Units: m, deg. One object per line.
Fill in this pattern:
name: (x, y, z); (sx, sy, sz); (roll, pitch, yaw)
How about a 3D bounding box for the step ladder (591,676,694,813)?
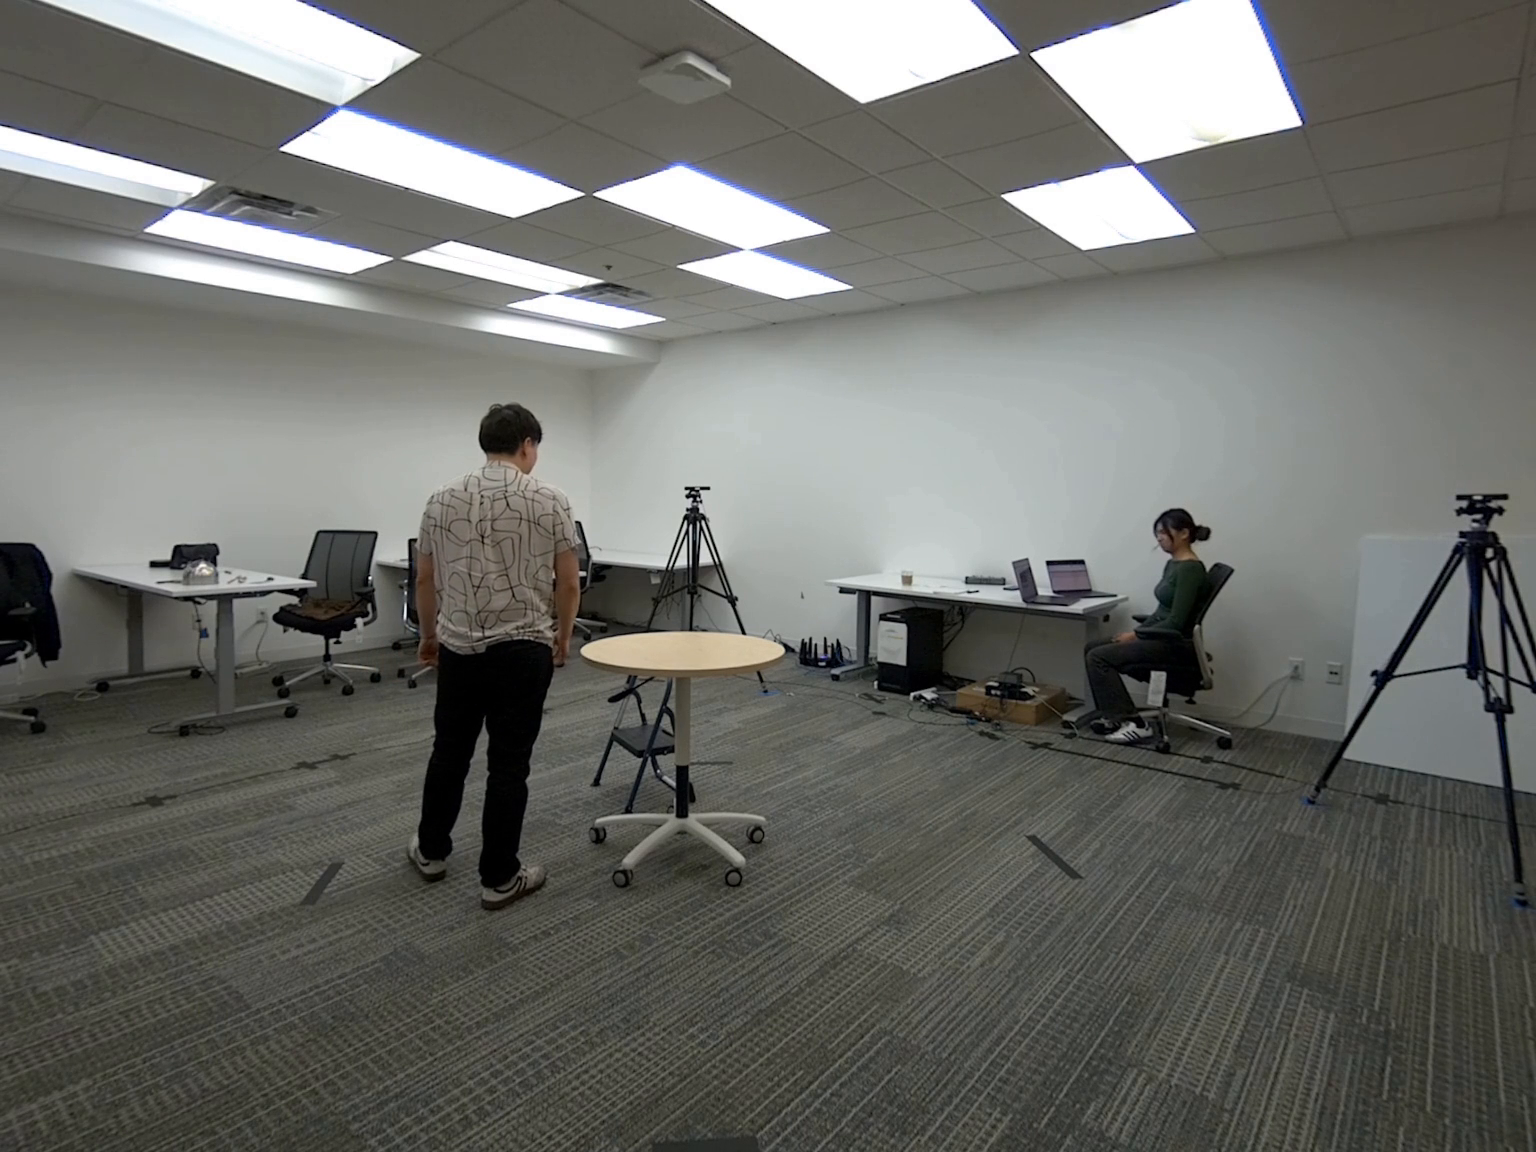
step ladder: (-0.577, 0.686, 3.848); (0.340, 0.604, 0.444); (-1, 4, -31)
